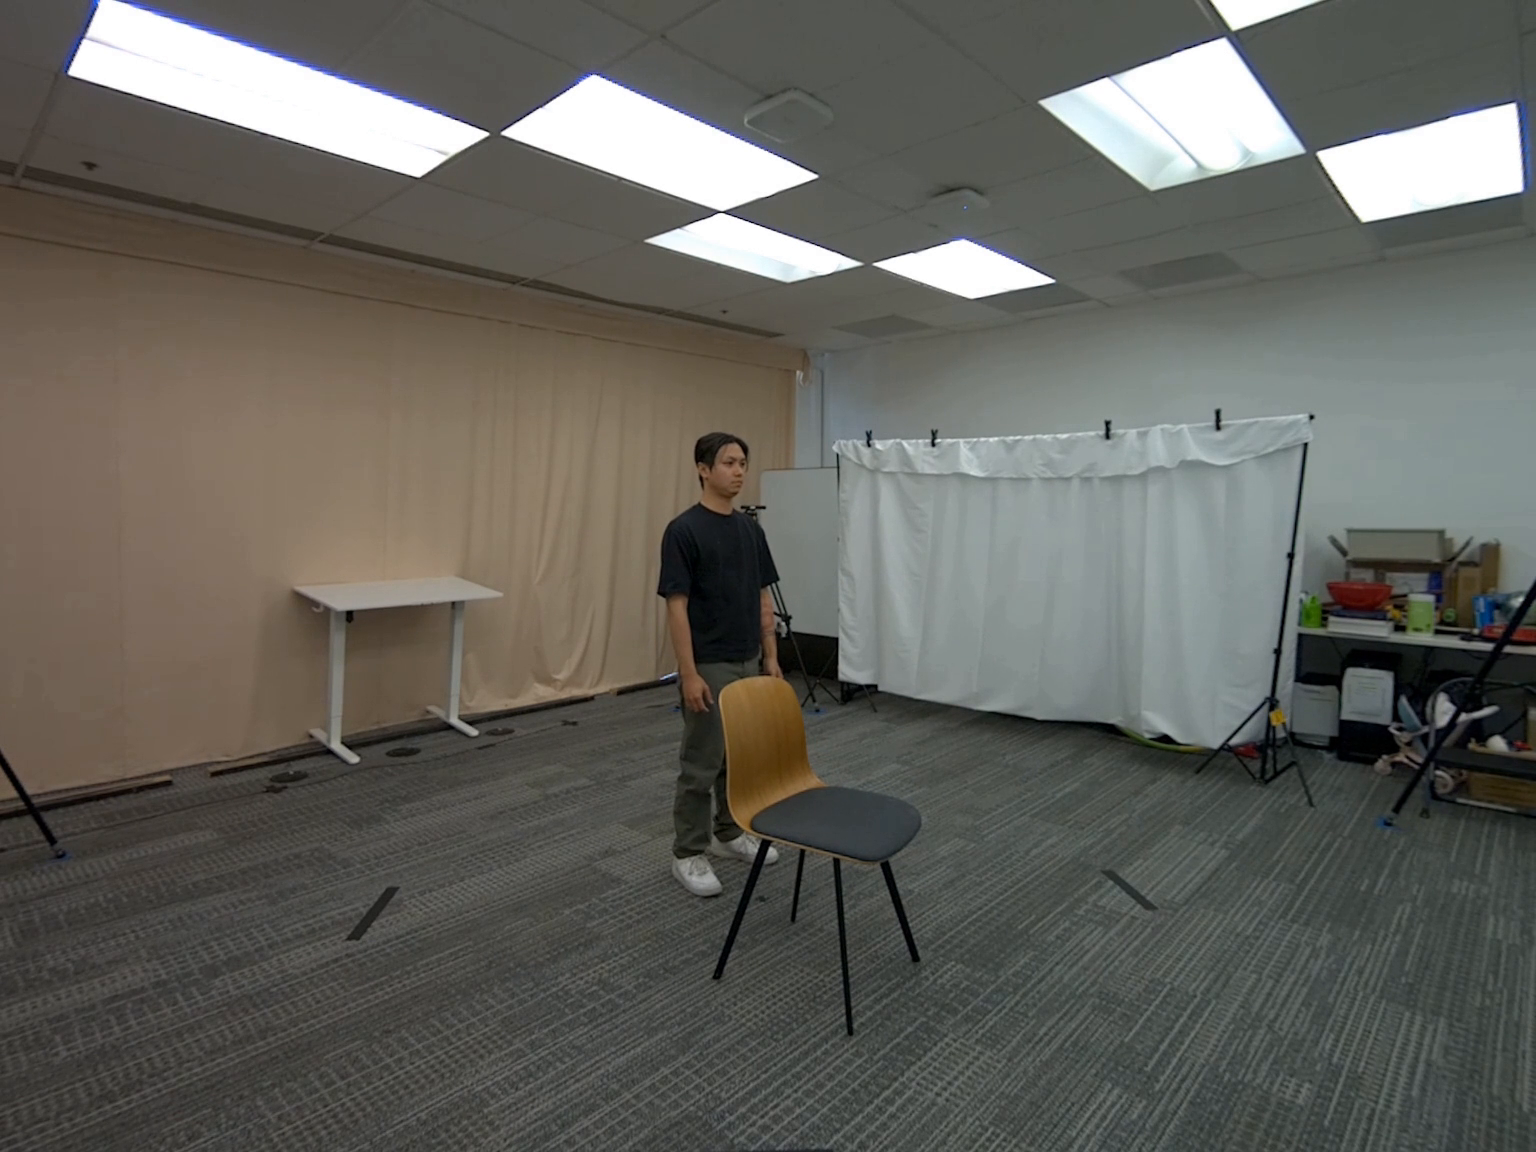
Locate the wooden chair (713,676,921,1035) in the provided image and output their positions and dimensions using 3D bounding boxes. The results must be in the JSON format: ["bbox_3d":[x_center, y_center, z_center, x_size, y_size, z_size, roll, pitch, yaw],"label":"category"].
[{"bbox_3d":[0.165,0.758,2.489,0.538,0.877,0.464,-3,0,35],"label":"wooden chair"}]
